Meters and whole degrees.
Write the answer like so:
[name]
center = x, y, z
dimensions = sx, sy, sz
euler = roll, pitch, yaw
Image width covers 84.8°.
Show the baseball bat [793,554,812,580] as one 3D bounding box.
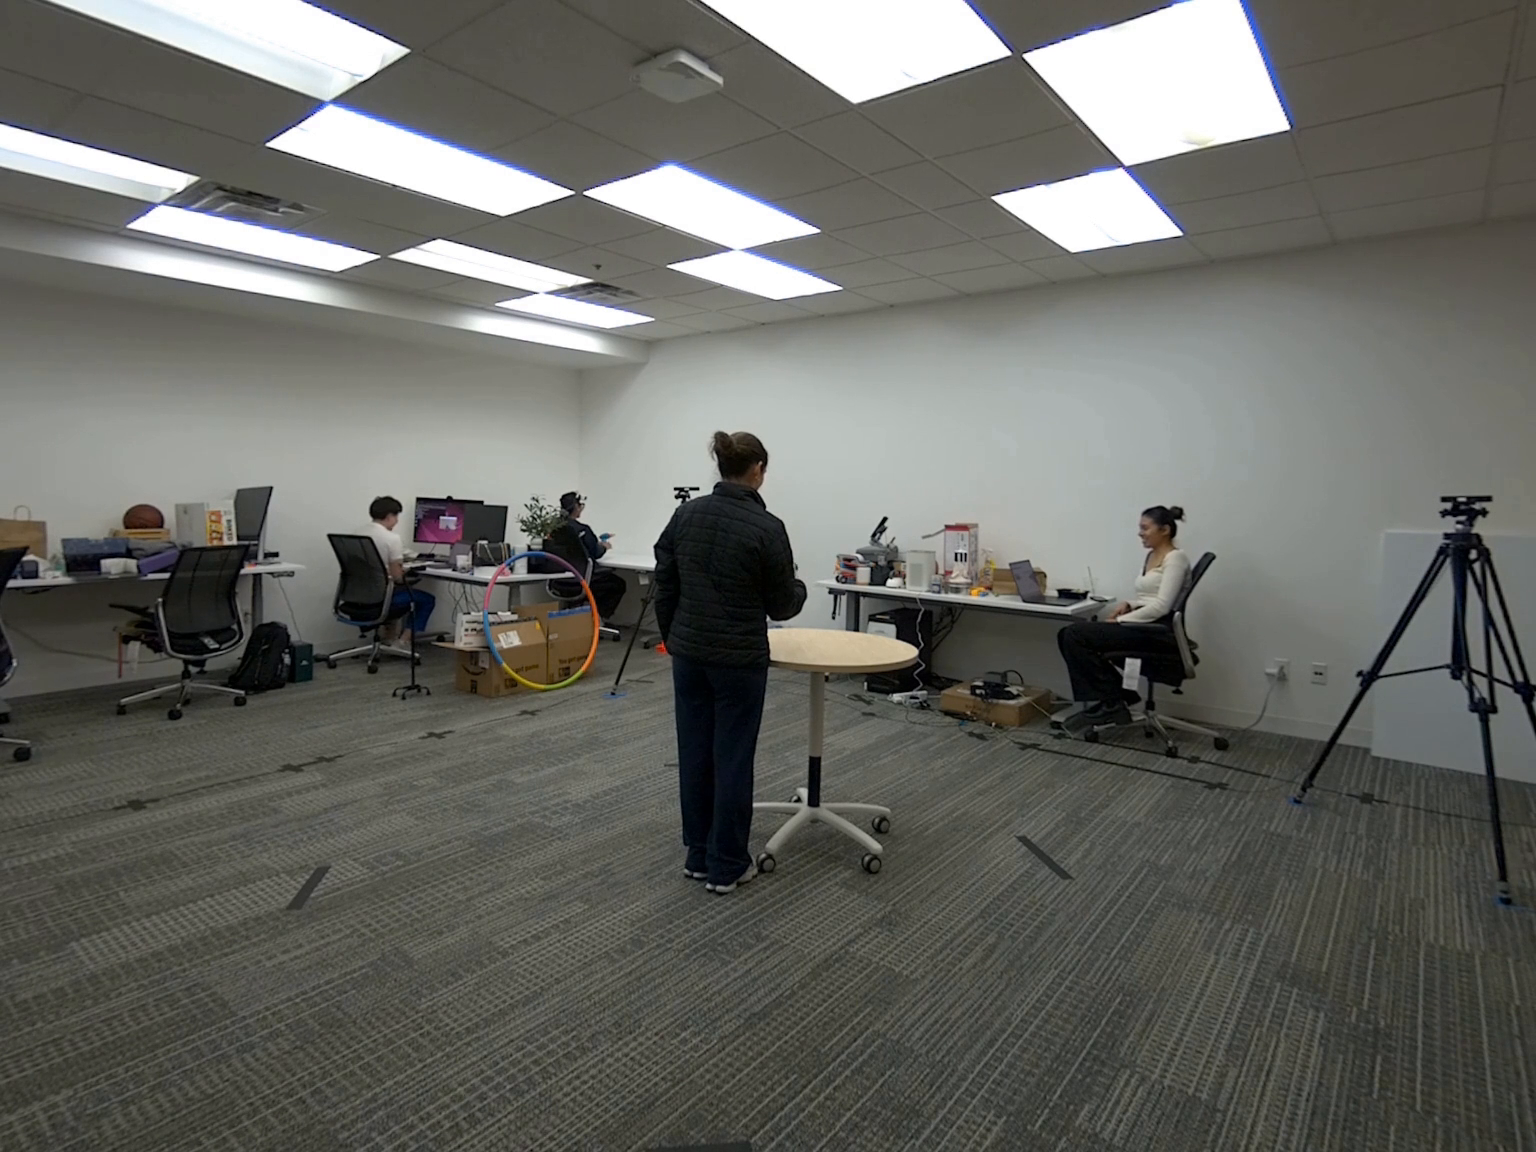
[baseball bat]
center = 0.100, -0.035, 3.282
dimensions = 0.090, 0.089, 0.537
euler = 1, 0, 7
